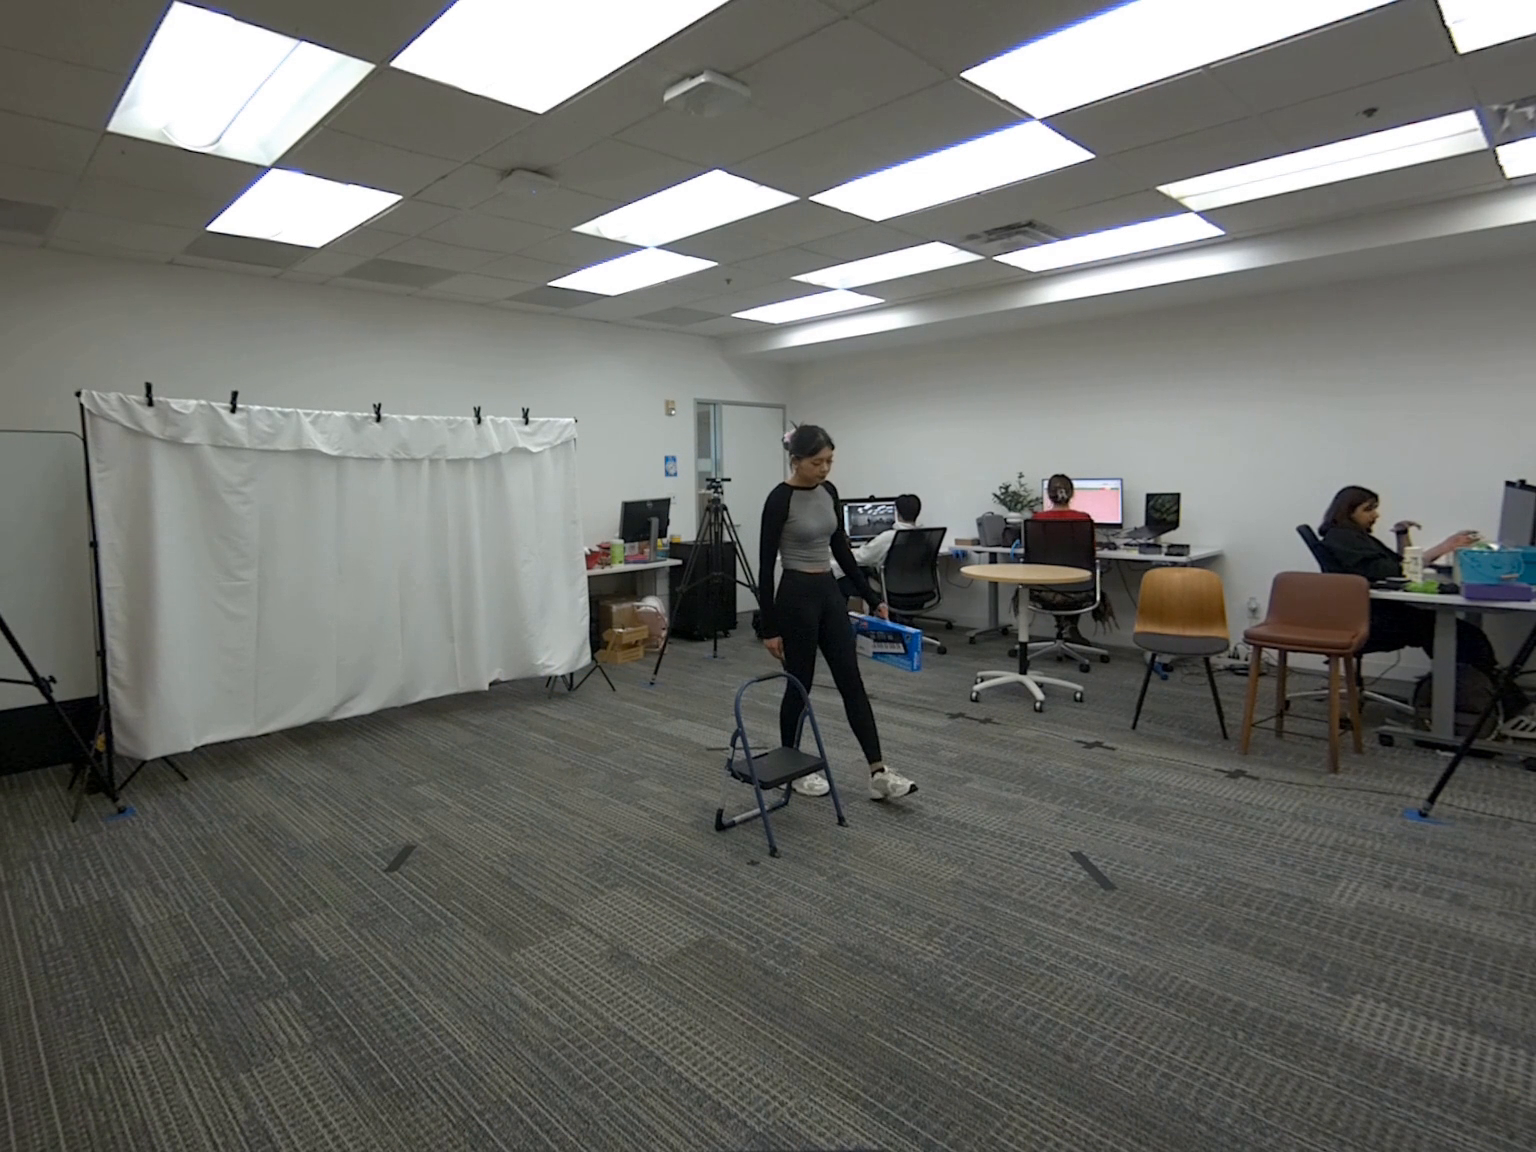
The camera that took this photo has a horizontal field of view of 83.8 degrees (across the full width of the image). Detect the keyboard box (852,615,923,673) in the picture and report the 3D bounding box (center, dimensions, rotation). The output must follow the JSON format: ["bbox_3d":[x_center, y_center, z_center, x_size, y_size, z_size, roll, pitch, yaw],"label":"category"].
[{"bbox_3d":[0.501,0.289,3.795,0.058,0.174,0.451,-5,11,-35],"label":"keyboard box"}]
